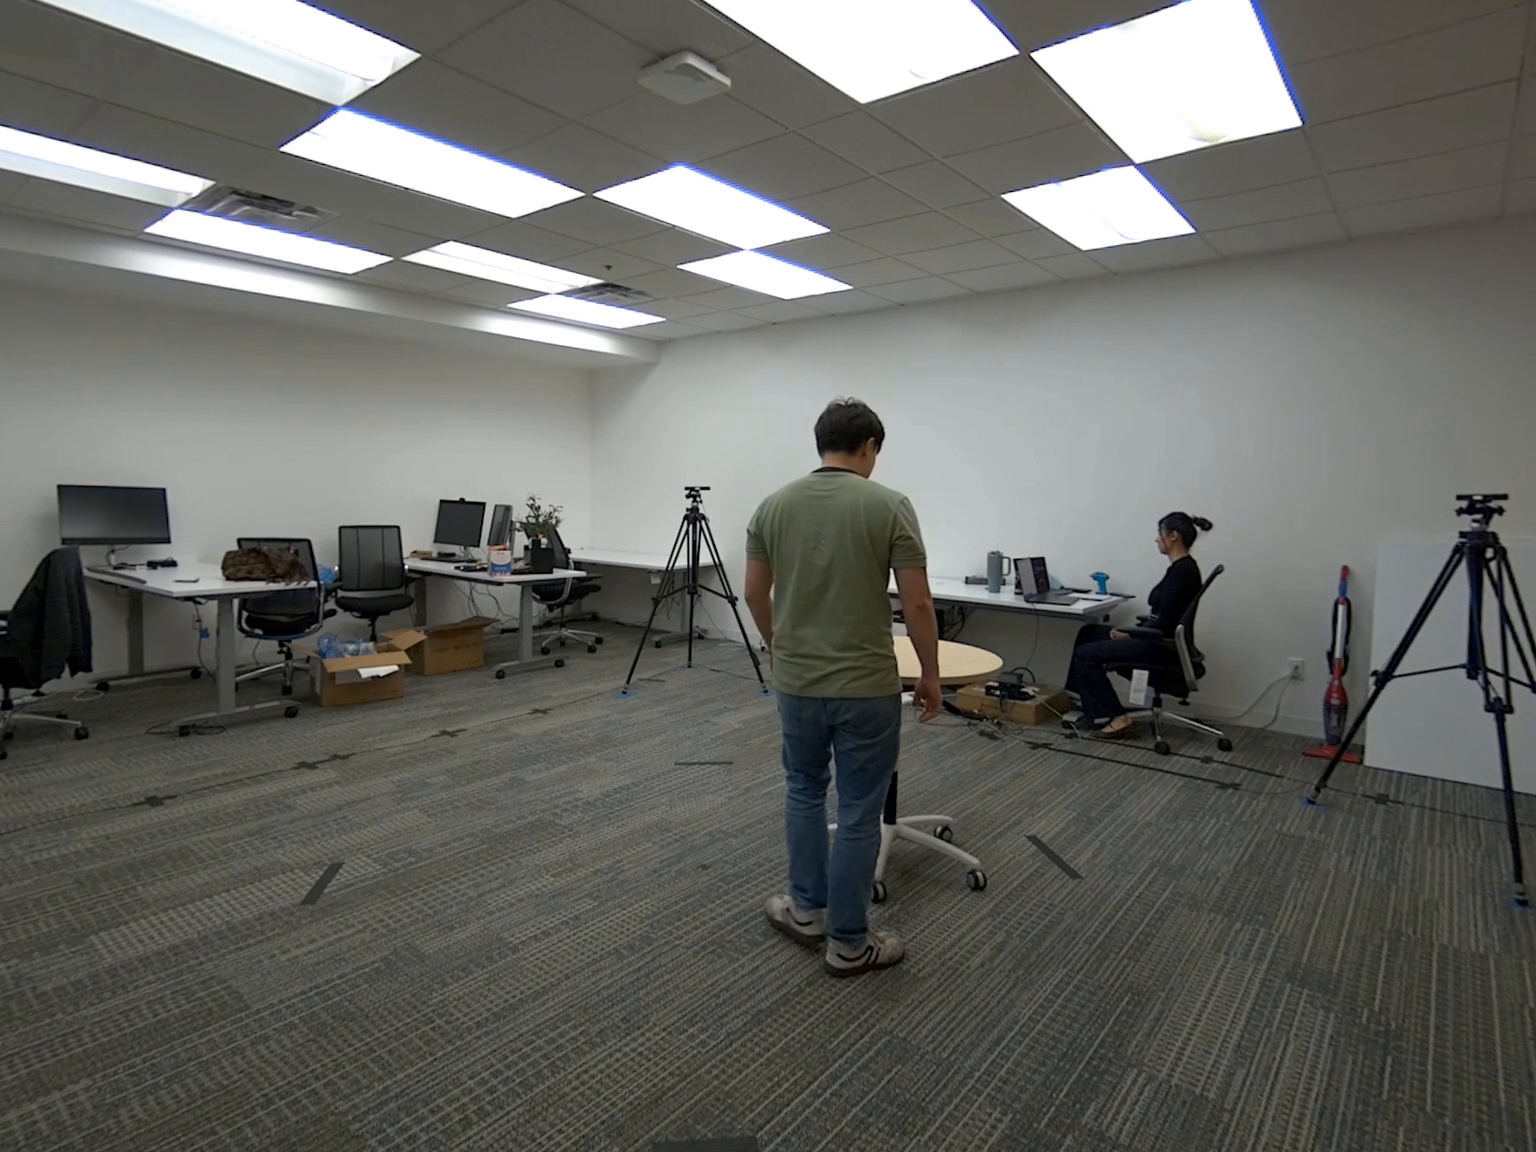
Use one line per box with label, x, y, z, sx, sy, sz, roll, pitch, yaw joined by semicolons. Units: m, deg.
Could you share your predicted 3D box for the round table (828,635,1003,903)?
round table;0.454;0.681;3.196;0.763;0.791;0.768;1;5;-2
